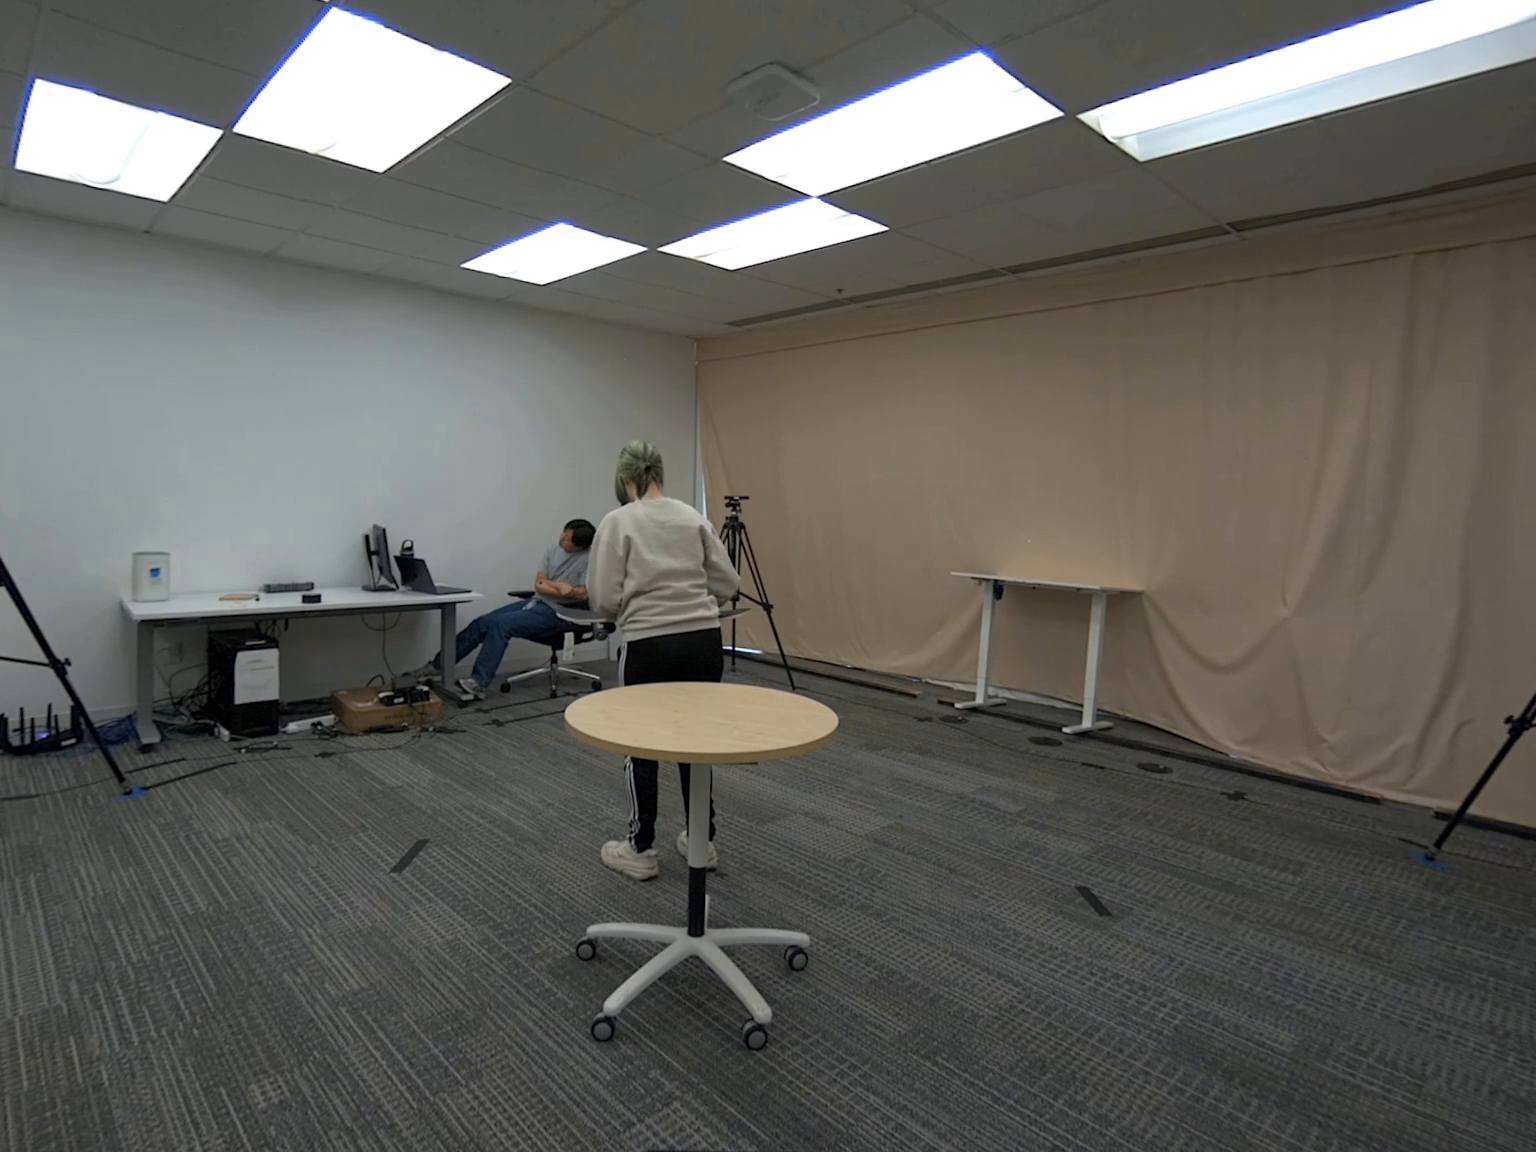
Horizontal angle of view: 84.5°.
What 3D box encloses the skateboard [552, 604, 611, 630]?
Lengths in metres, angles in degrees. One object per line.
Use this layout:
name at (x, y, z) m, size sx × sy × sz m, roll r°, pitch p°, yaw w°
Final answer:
skateboard at (-0.478, 0.197, 3.385) m, size 0.787 × 0.110 × 0.194 m, roll -1°, pitch 6°, yaw 3°
